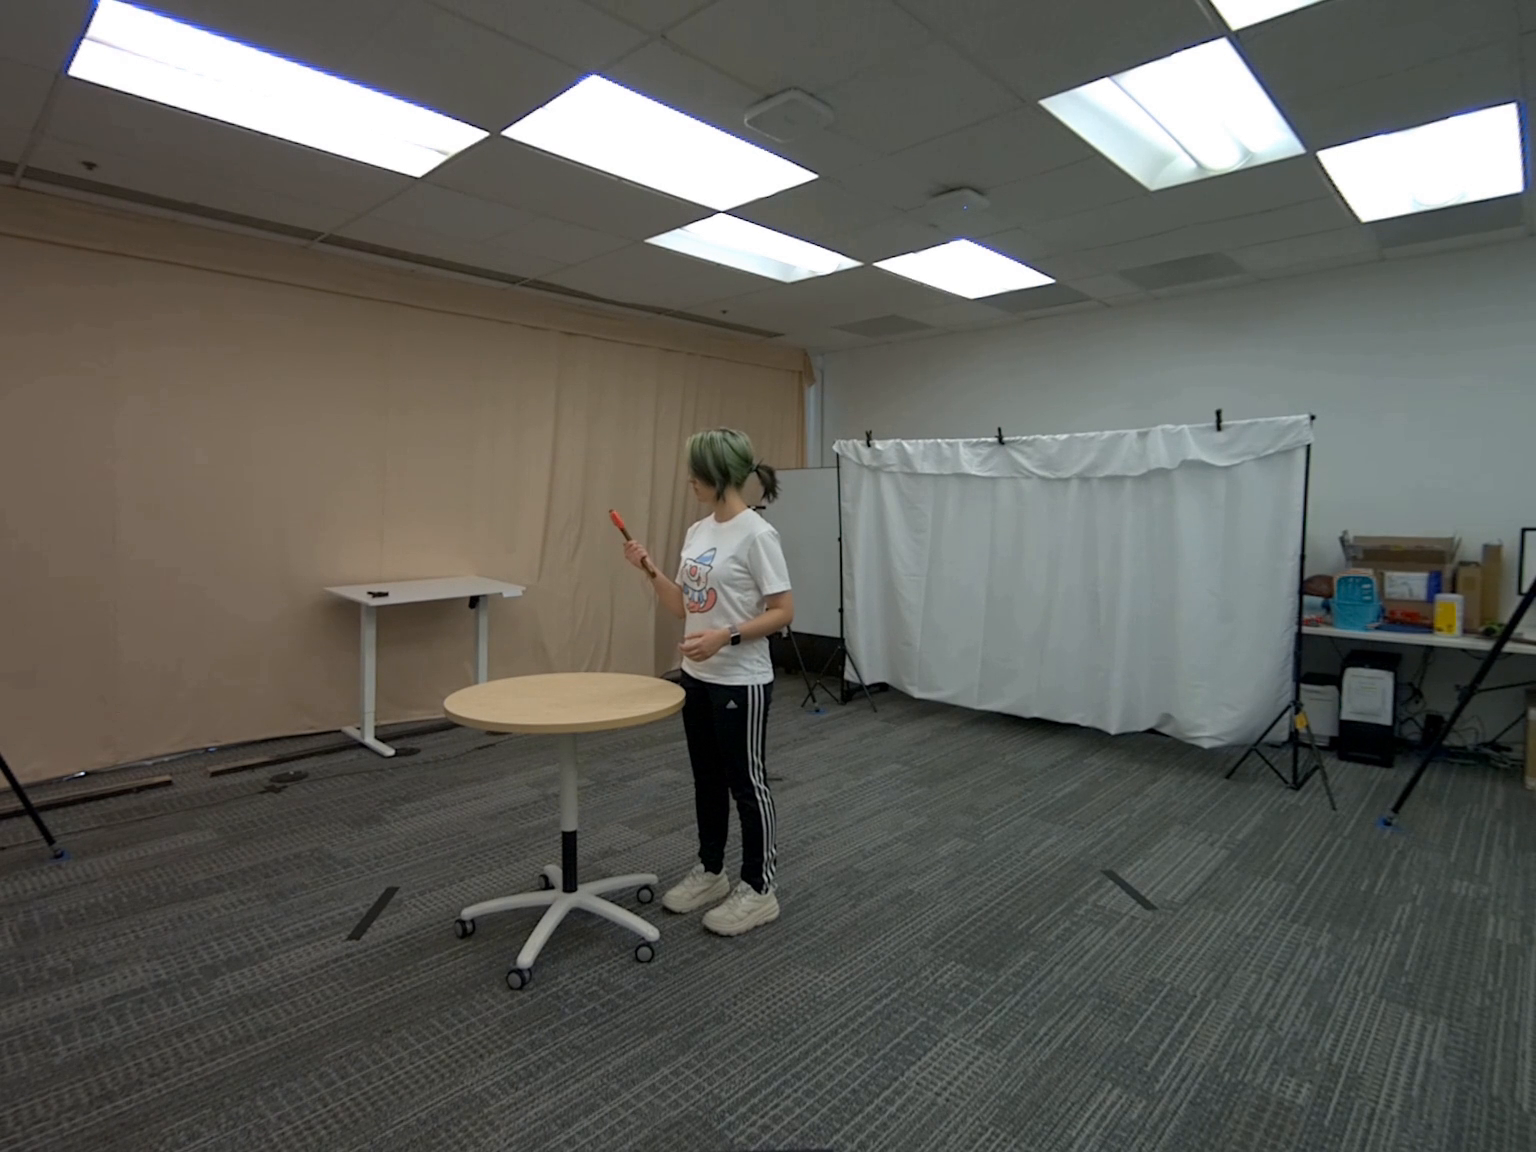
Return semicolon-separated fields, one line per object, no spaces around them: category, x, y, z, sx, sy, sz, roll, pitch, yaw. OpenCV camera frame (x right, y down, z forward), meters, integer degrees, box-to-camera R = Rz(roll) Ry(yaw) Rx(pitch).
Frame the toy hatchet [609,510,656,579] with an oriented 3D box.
toy hatchet;-0.454;-0.119;2.808;0.029;0.276;0.129;-34;-20;-11
